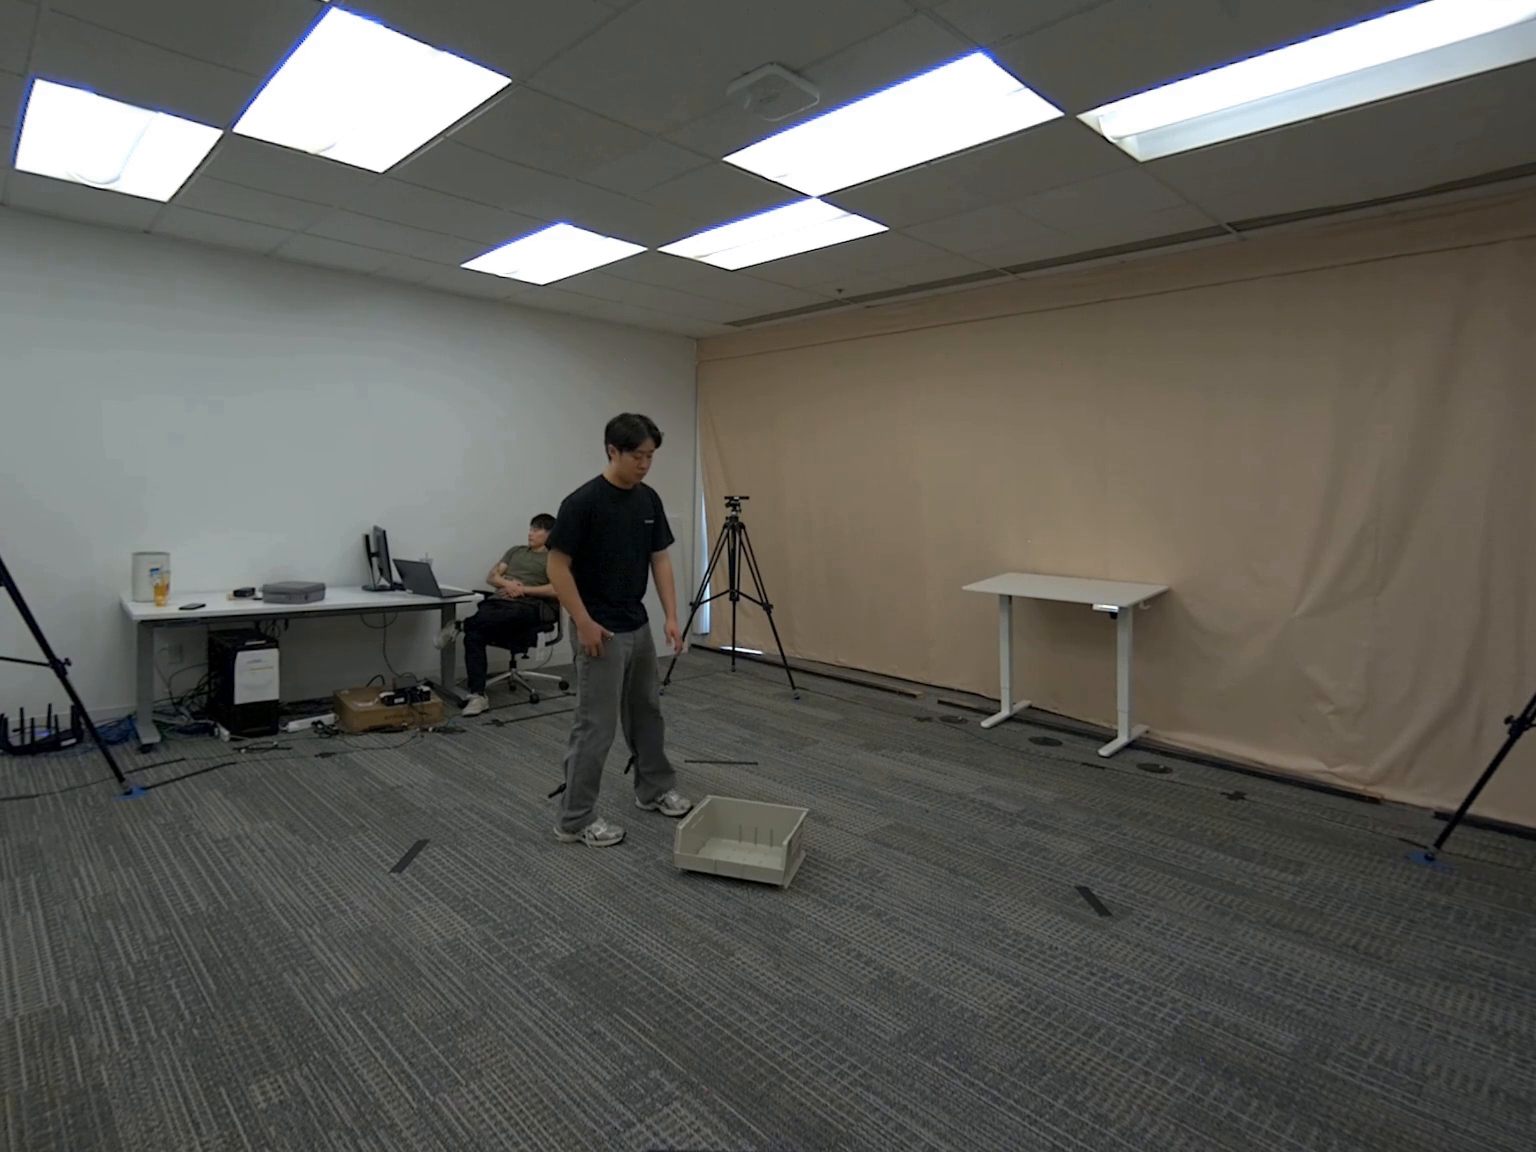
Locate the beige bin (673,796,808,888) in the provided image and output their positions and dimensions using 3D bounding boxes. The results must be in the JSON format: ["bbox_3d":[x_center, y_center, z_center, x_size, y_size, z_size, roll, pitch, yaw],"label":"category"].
[{"bbox_3d":[-0.098,1.008,3.186,0.428,0.188,0.373,2,4,17],"label":"beige bin"}]
